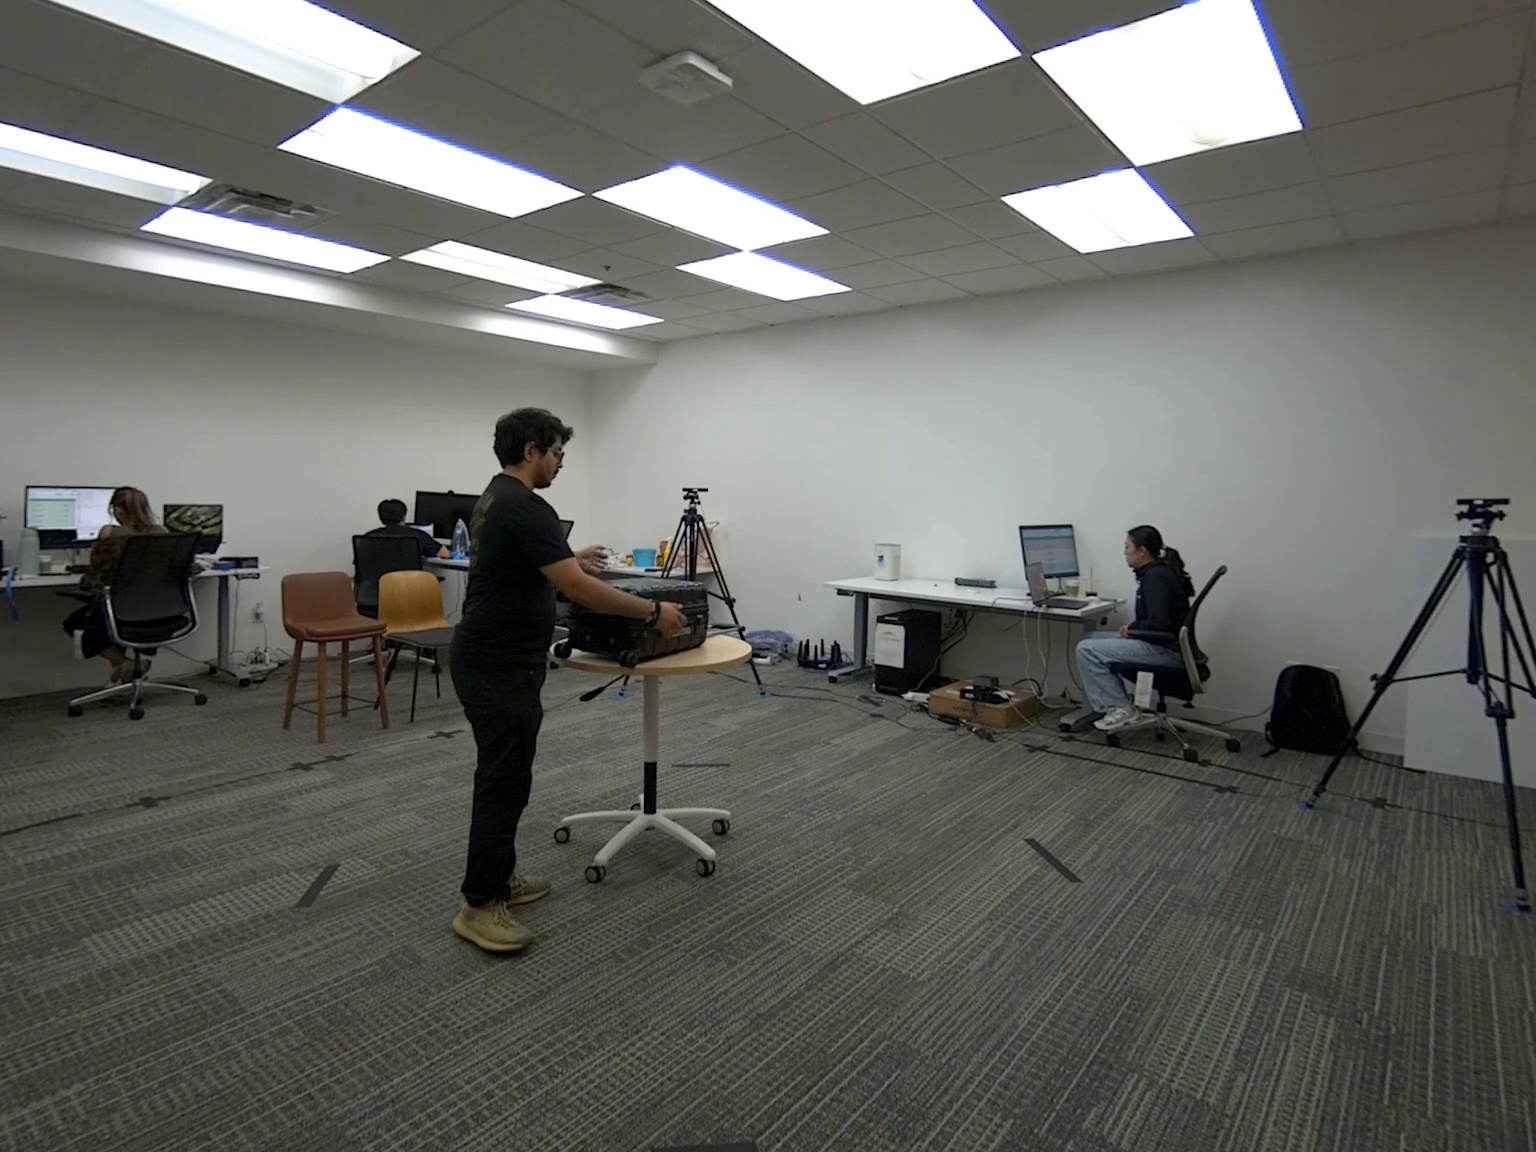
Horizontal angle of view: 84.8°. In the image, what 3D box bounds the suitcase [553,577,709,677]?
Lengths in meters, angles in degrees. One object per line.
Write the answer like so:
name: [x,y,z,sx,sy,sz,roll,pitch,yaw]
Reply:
suitcase: [-0.395,0.133,3.336,0.394,0.256,0.956,1,5,27]
